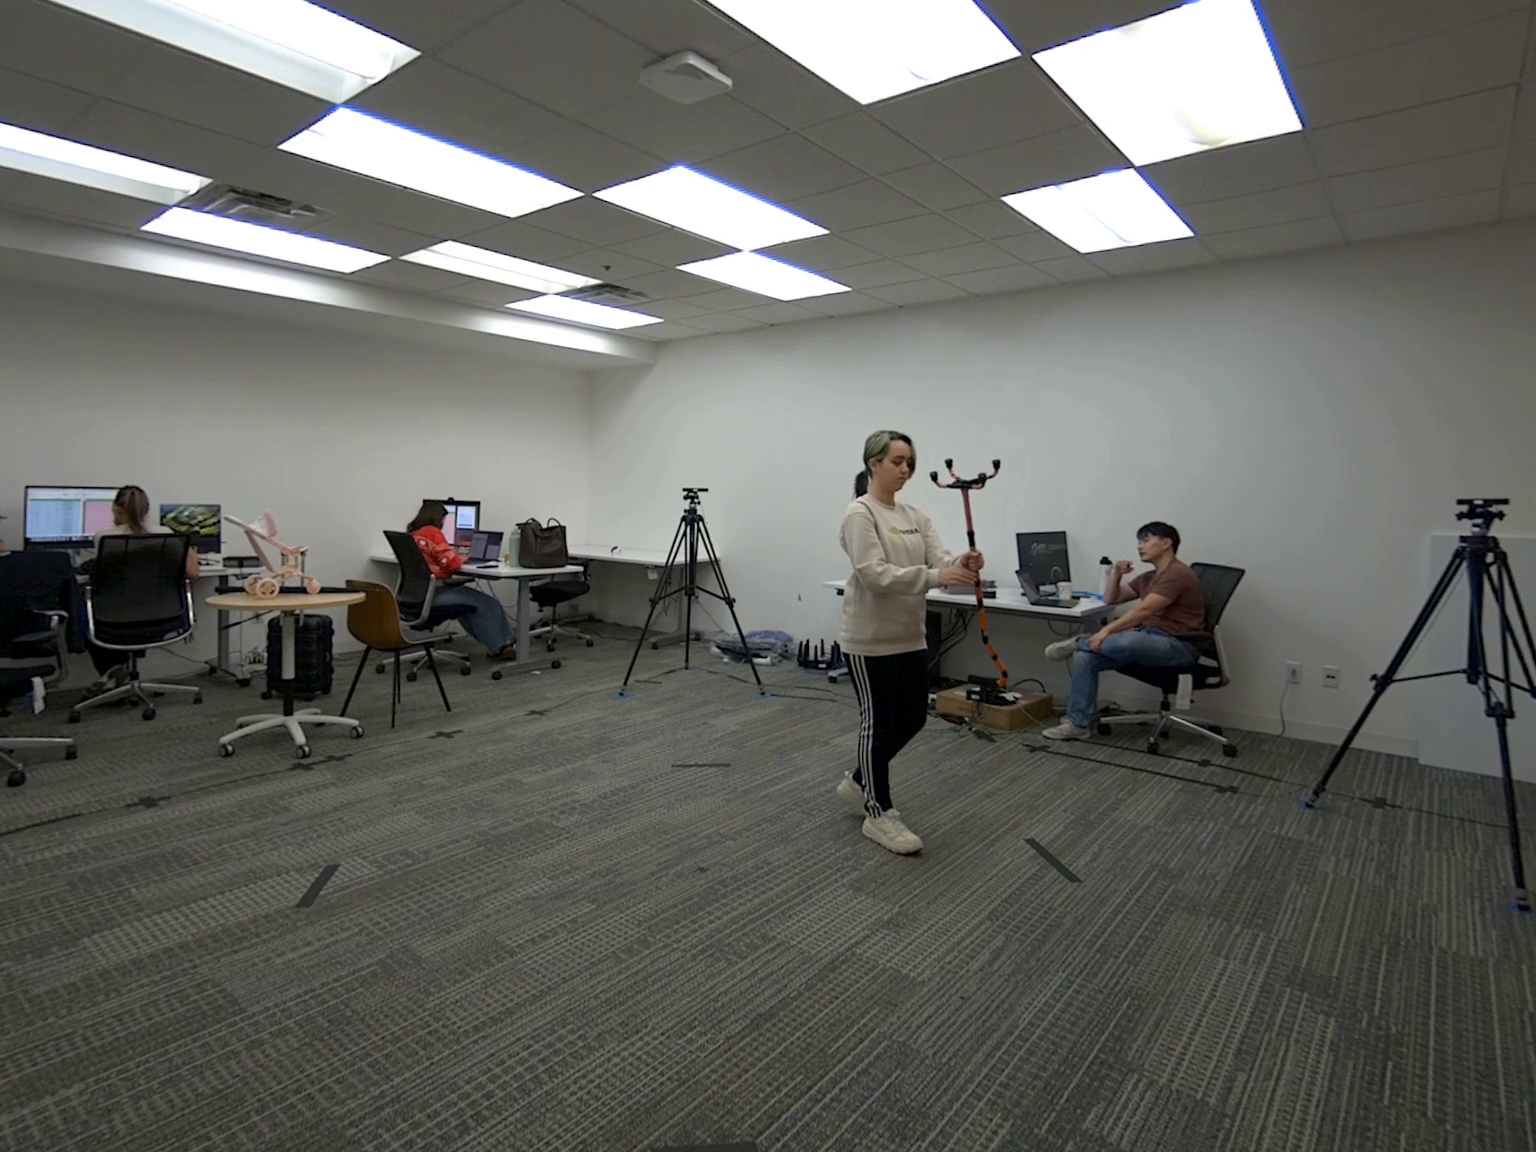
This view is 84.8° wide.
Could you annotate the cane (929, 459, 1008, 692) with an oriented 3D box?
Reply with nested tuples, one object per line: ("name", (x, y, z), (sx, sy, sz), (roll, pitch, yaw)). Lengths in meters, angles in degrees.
("cane", (0.785, 0.020, 3.130), (0.213, 0.886, 0.150), (5, 28, 36))
